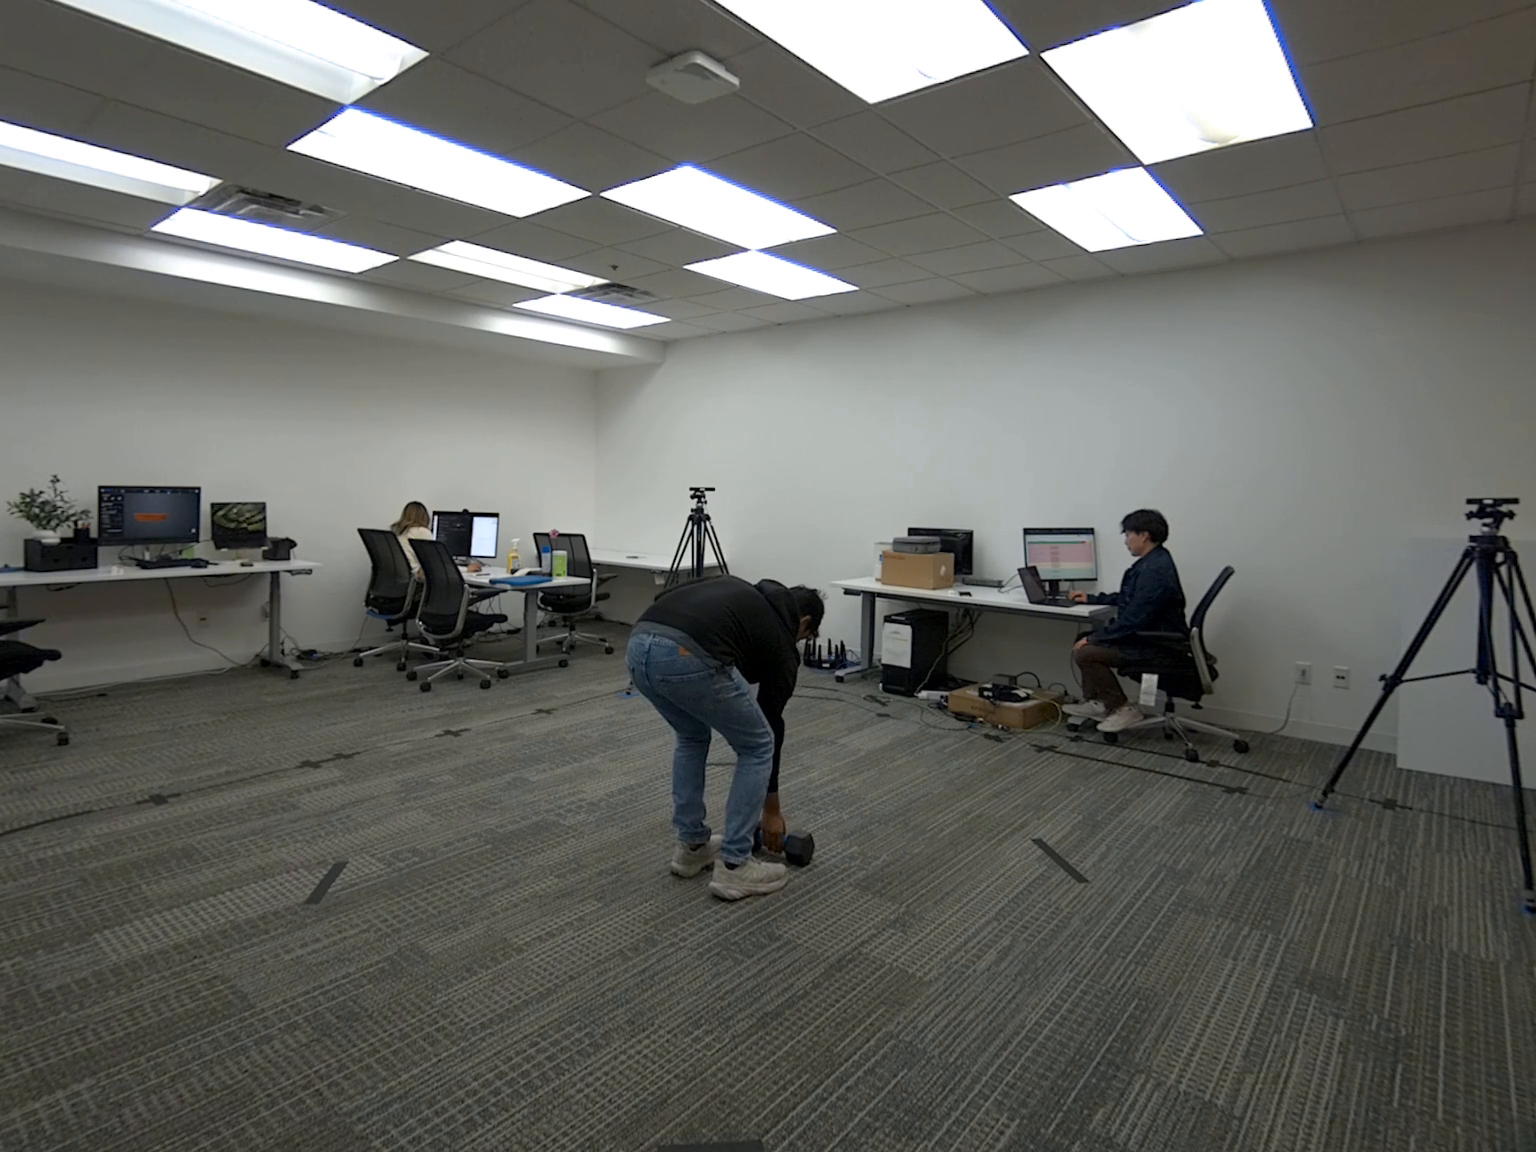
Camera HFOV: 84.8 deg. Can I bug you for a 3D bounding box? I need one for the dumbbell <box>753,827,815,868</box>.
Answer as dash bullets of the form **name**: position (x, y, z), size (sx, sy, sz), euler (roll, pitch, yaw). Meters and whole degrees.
- **dumbbell**: position (0.015, 0.999, 3.235), size (0.303, 0.124, 0.104), euler (5, -26, 32)
